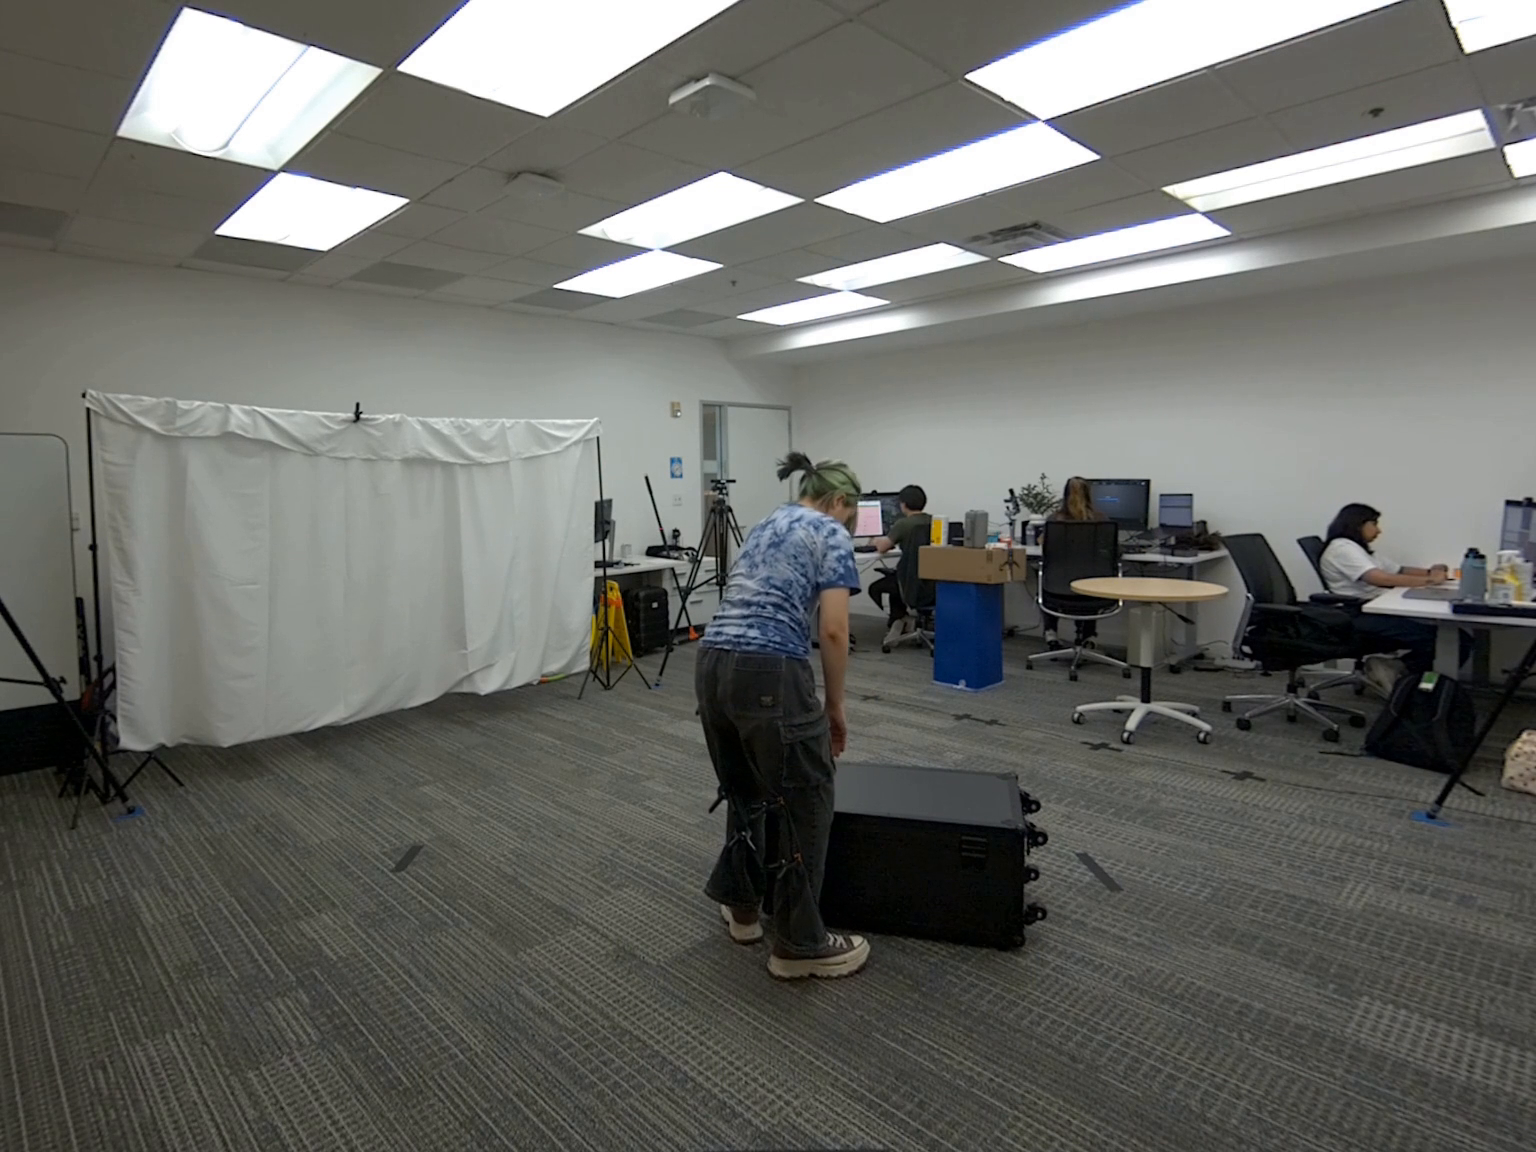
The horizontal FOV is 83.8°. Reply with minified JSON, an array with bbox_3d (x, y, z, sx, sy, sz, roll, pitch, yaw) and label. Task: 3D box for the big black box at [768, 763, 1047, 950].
[{"bbox_3d":[0.454,0.876,2.804,0.874,0.395,0.516,0,5,15],"label":"big black box"}]
